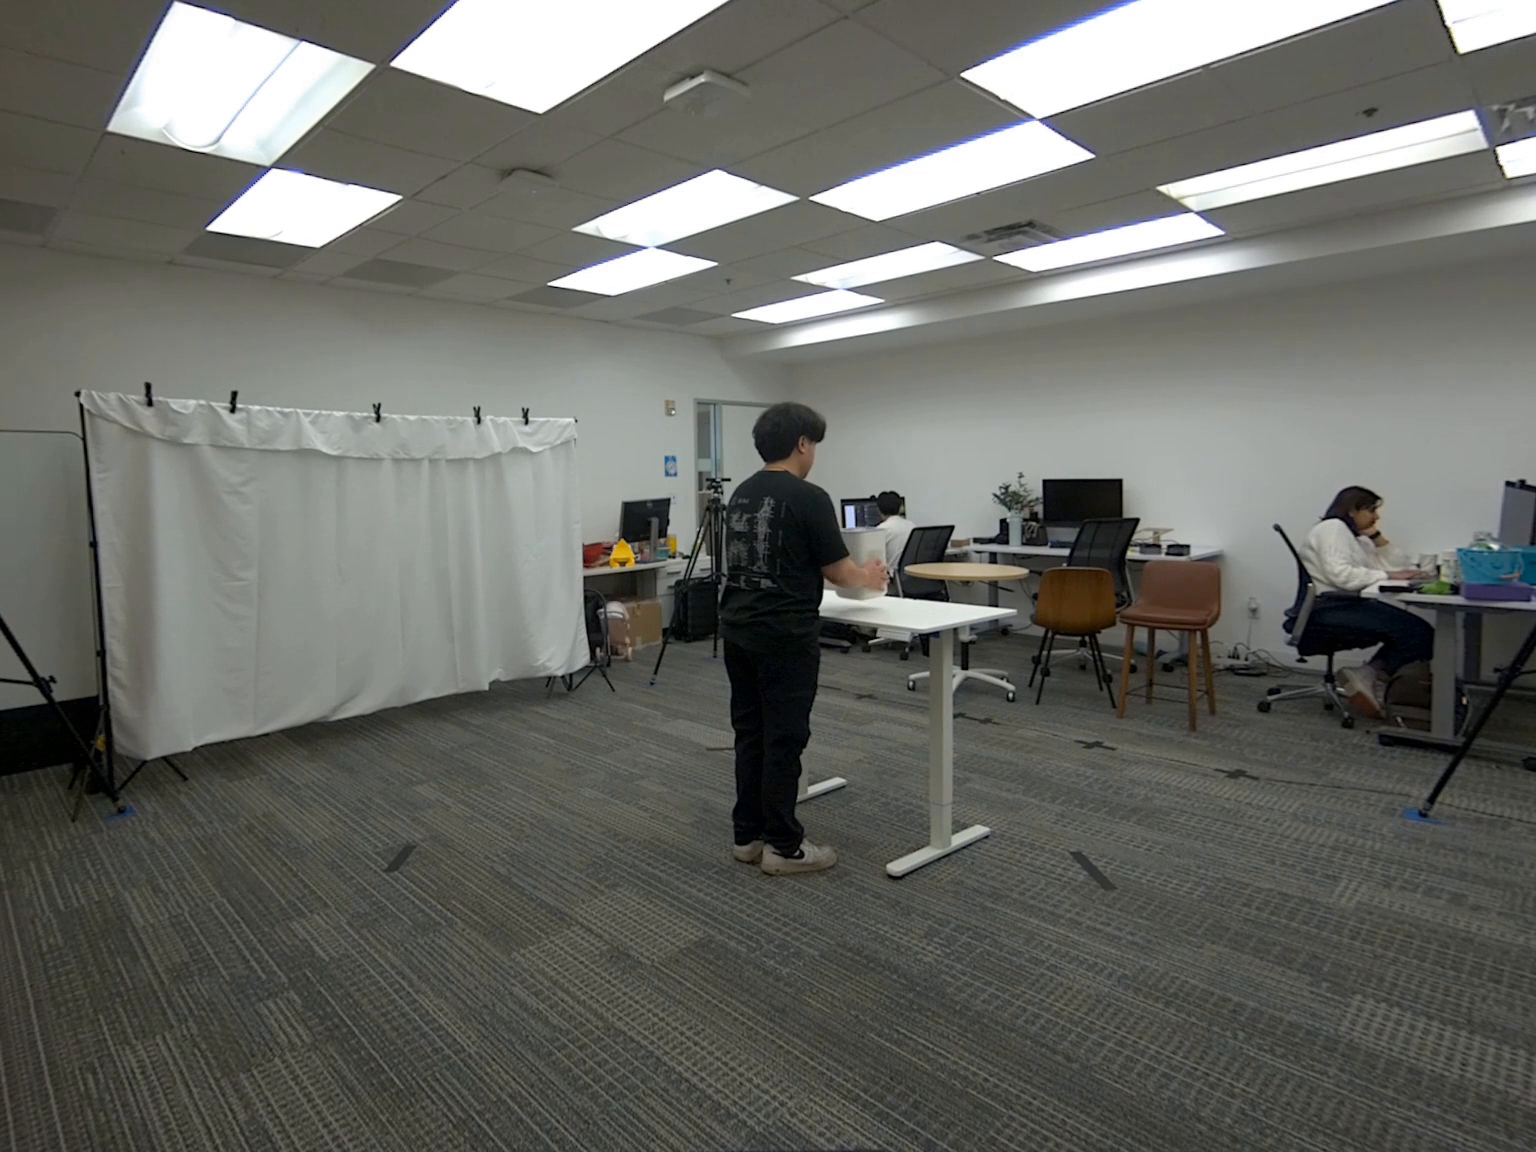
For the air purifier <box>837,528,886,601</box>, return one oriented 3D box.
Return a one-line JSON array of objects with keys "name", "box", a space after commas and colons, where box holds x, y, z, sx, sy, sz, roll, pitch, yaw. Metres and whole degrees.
[{"name": "air purifier", "box": [0.355, -0.044, 3.294, 0.167, 0.264, 0.176, -7, 7, -40]}]
